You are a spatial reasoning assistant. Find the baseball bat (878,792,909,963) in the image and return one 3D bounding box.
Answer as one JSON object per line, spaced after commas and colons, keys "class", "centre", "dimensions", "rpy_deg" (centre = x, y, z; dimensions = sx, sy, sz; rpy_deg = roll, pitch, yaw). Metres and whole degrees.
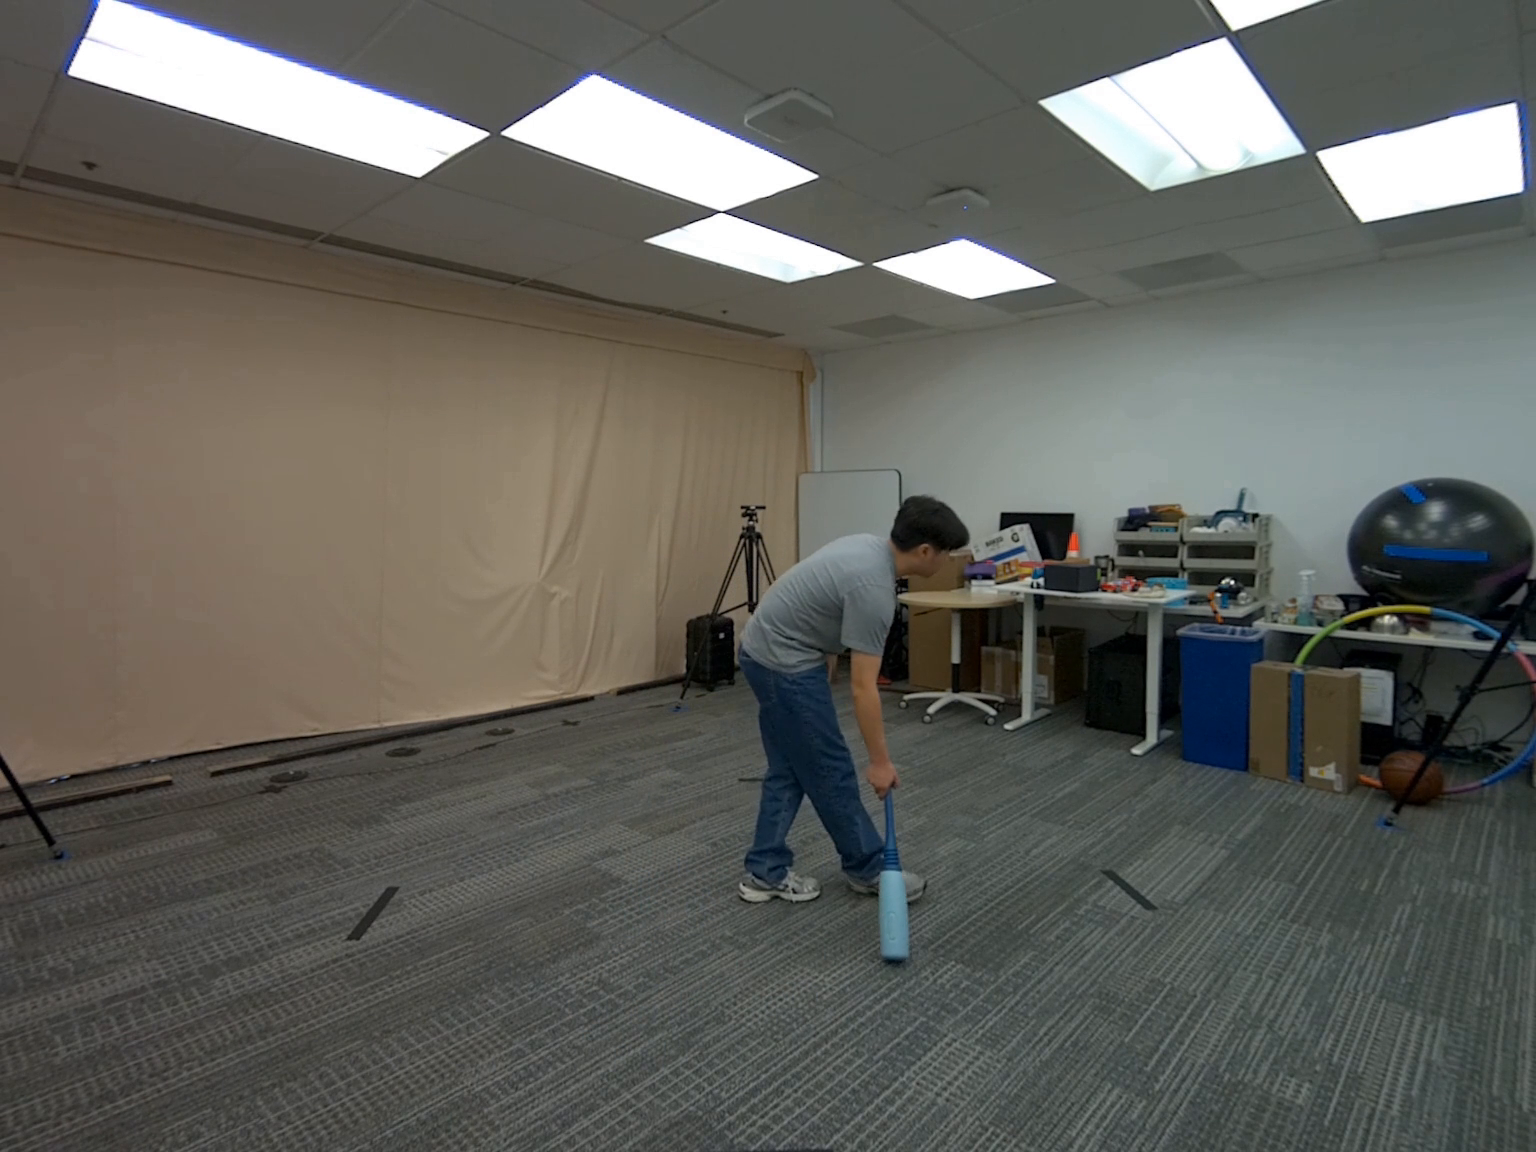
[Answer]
{"class": "baseball bat", "centre": [0.409, 0.928, 2.677], "dimensions": [0.089, 0.550, 0.088], "rpy_deg": [4, -29, 0]}
